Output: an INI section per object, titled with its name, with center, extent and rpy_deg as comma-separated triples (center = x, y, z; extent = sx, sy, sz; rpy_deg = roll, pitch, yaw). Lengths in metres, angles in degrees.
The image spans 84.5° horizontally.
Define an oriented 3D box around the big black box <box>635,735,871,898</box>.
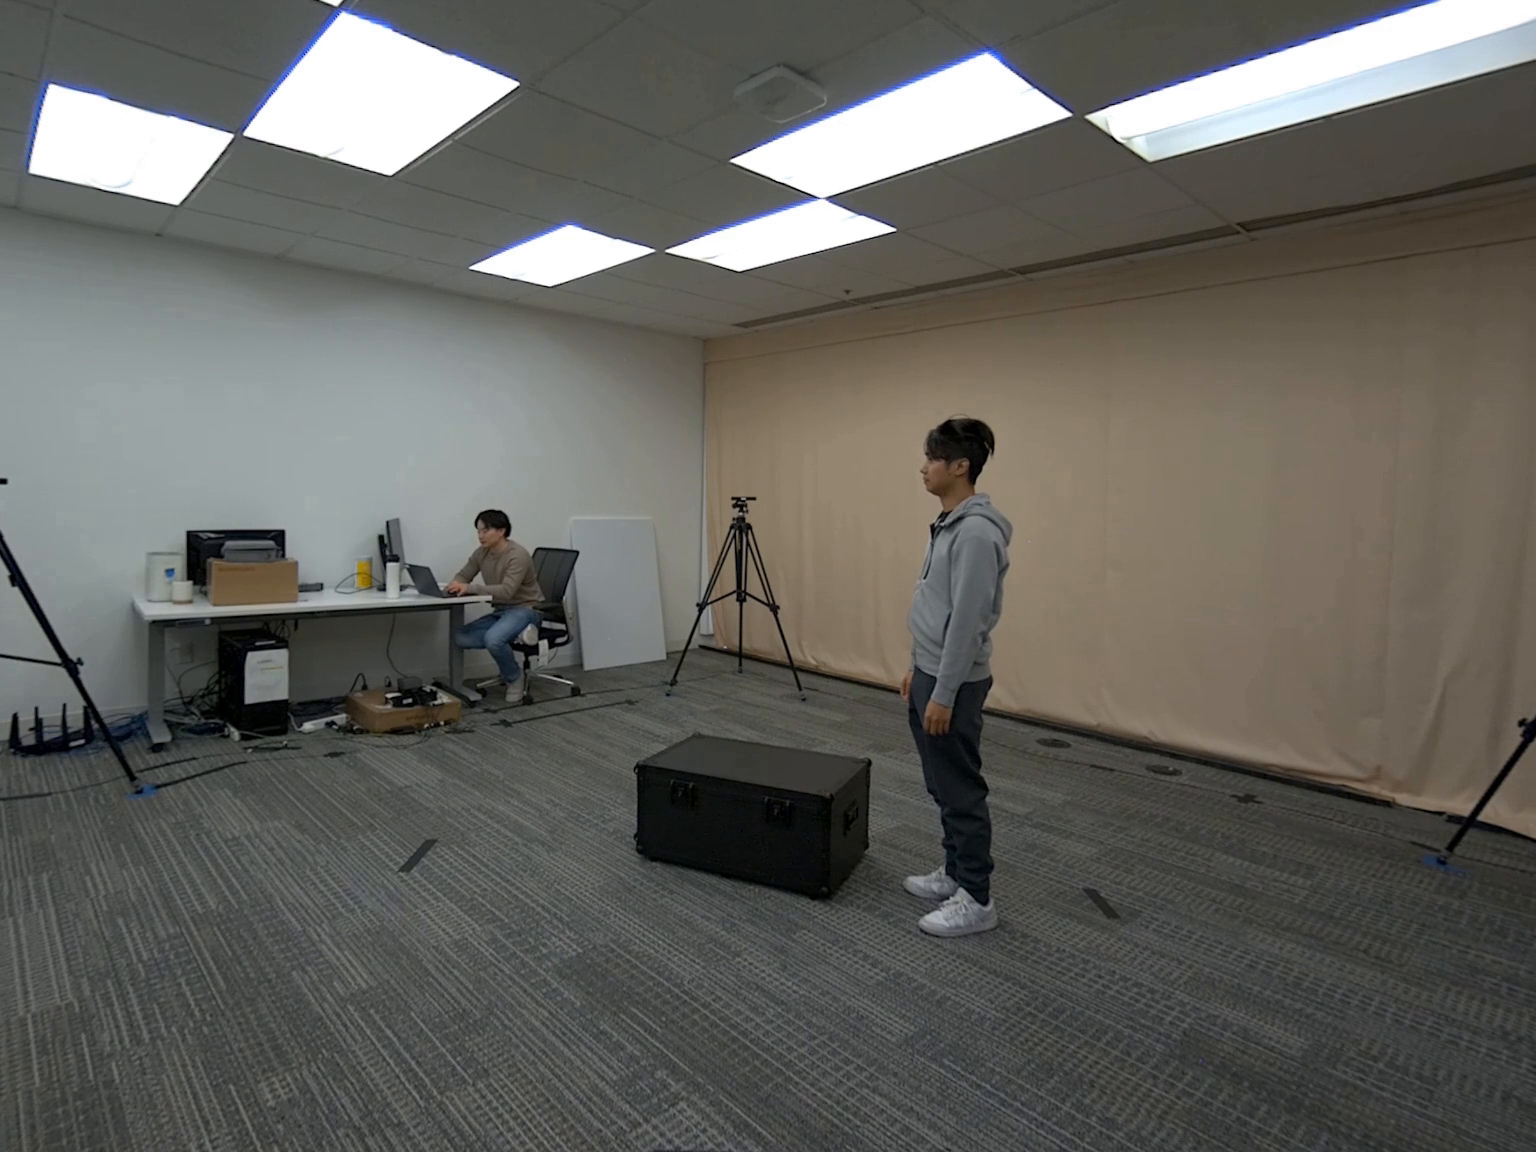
[big black box]
center = -0.031, 0.905, 3.256
extent = 0.878, 0.395, 0.513
rpy_deg = 3, 5, 25
